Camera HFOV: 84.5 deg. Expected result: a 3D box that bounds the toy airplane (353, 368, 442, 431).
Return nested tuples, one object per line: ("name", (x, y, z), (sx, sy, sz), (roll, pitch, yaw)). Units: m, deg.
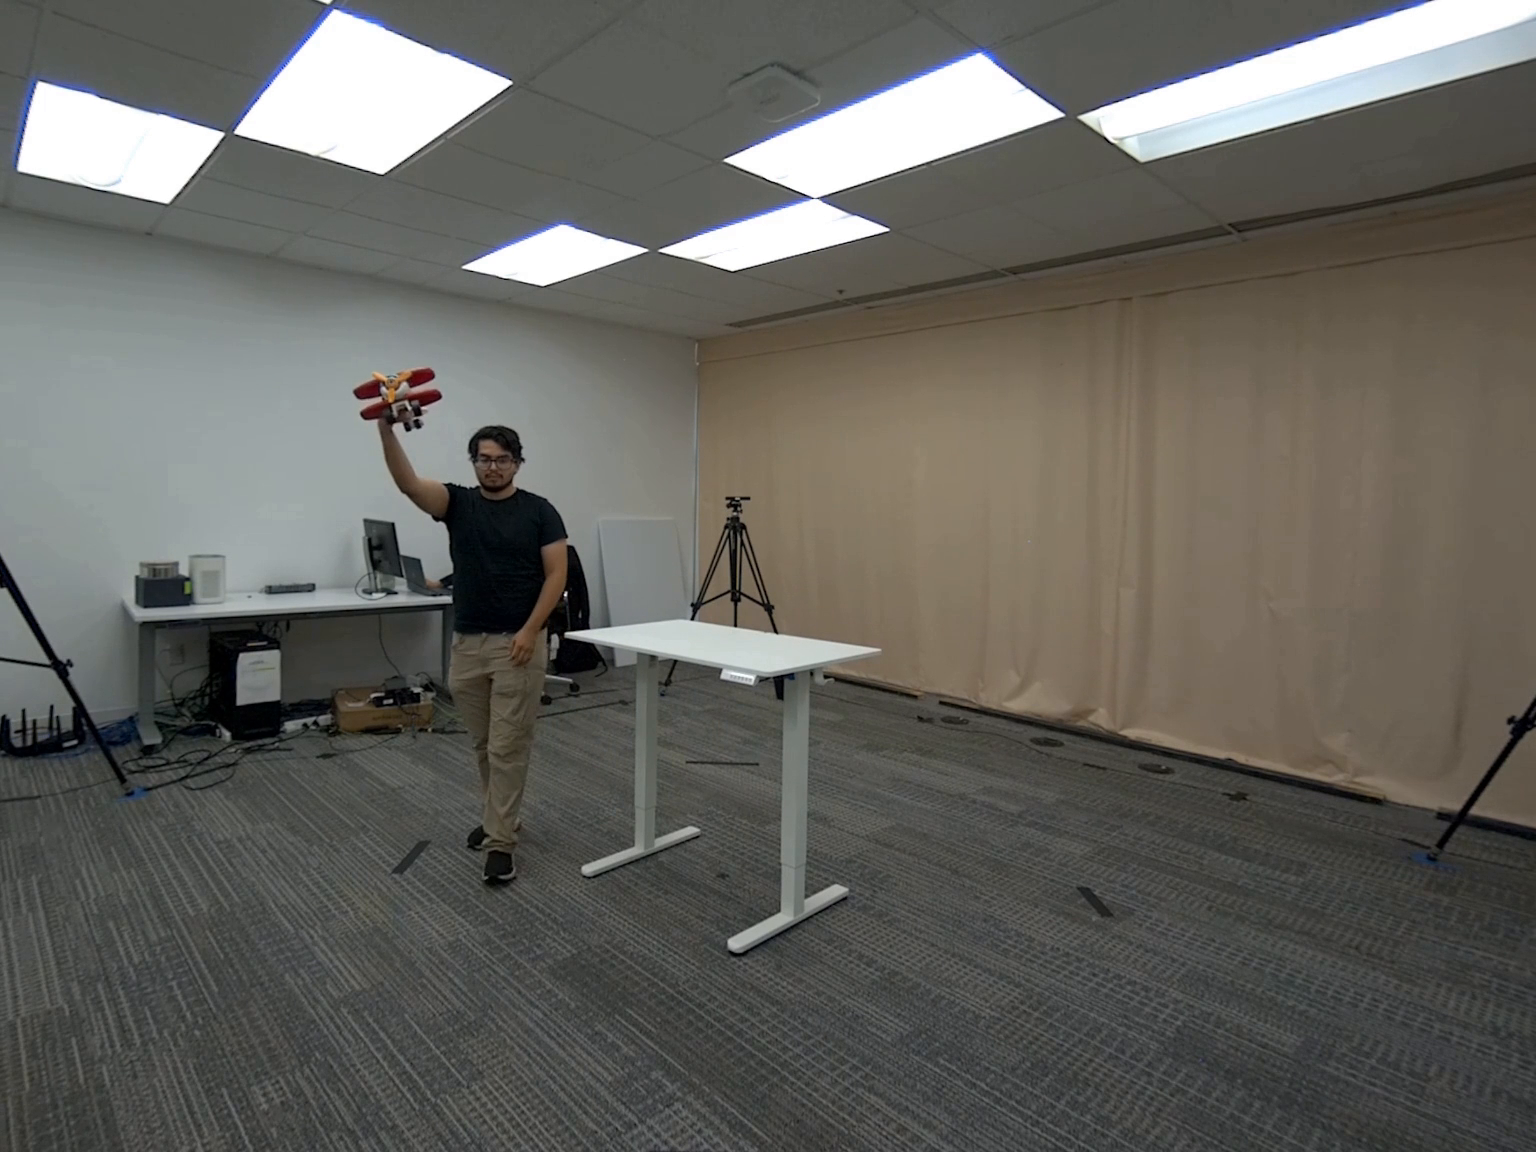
("toy airplane", (-1.217, -0.565, 2.724), (0.247, 0.156, 0.263), (-20, 4, -41))
